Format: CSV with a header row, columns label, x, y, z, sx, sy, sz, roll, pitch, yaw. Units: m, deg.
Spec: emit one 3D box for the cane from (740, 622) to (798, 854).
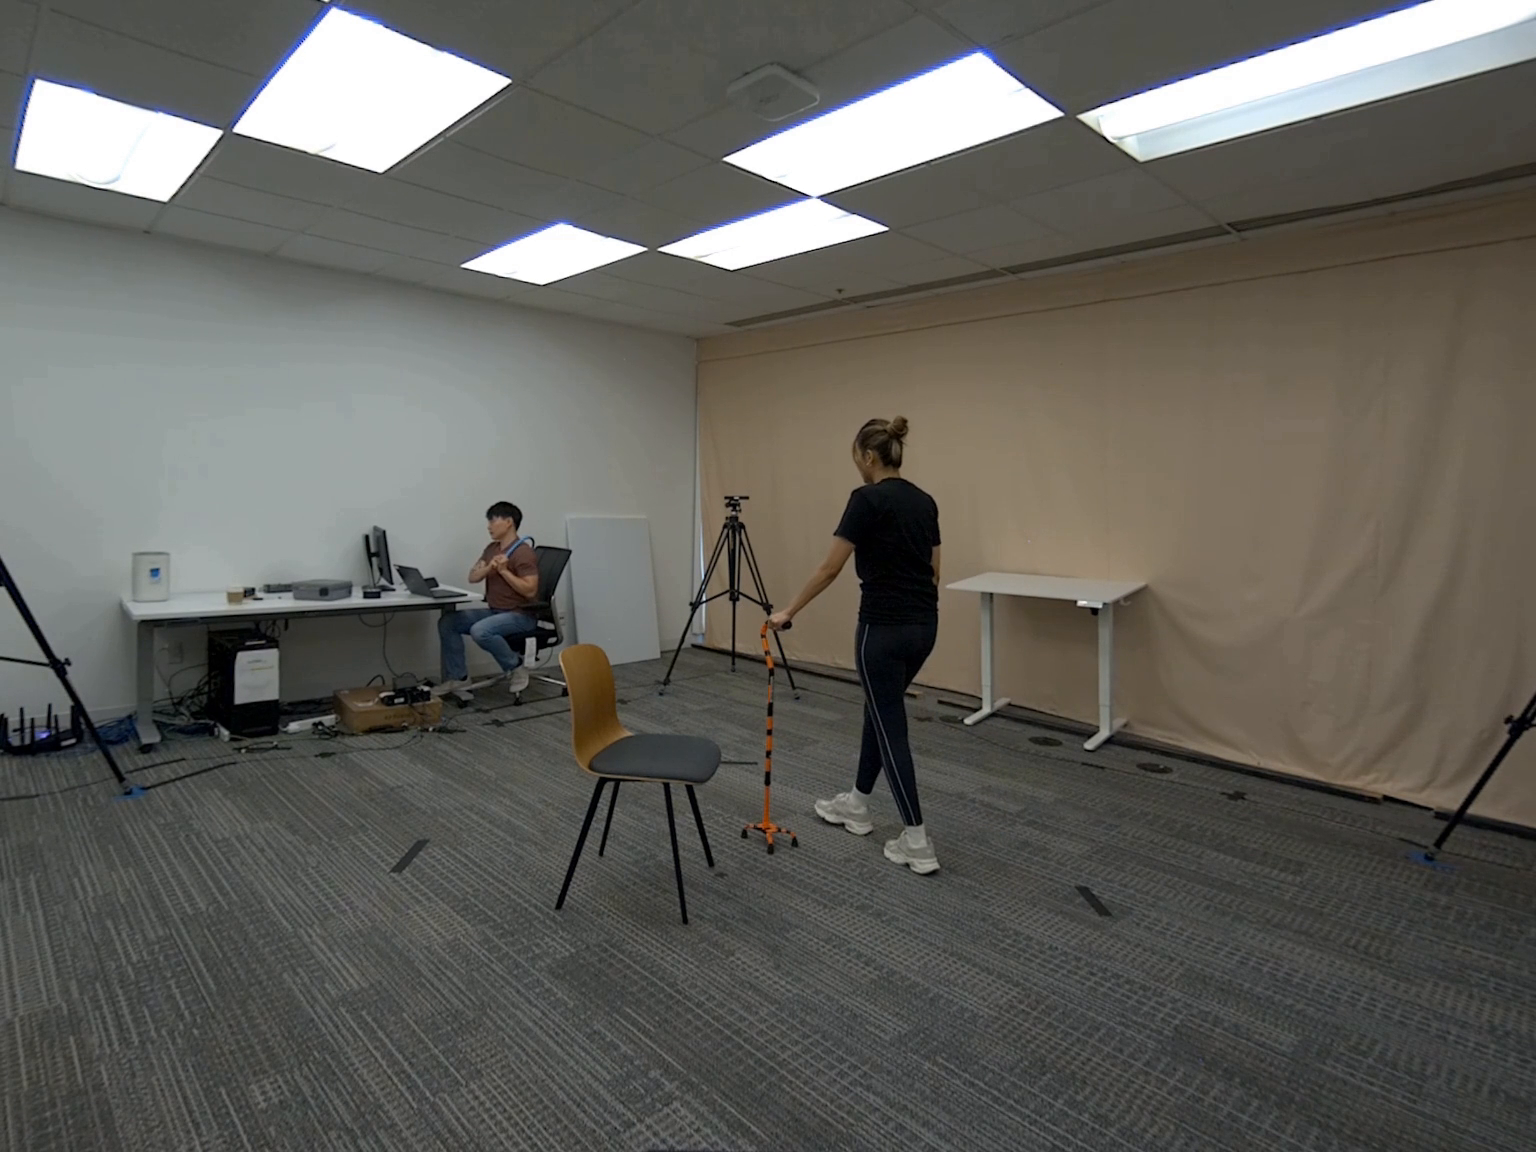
label,x,y,z,sx,sy,sz,roll,pitch,yaw
cane,0.009,0.622,3.393,0.148,0.906,0.211,-1,3,-33
